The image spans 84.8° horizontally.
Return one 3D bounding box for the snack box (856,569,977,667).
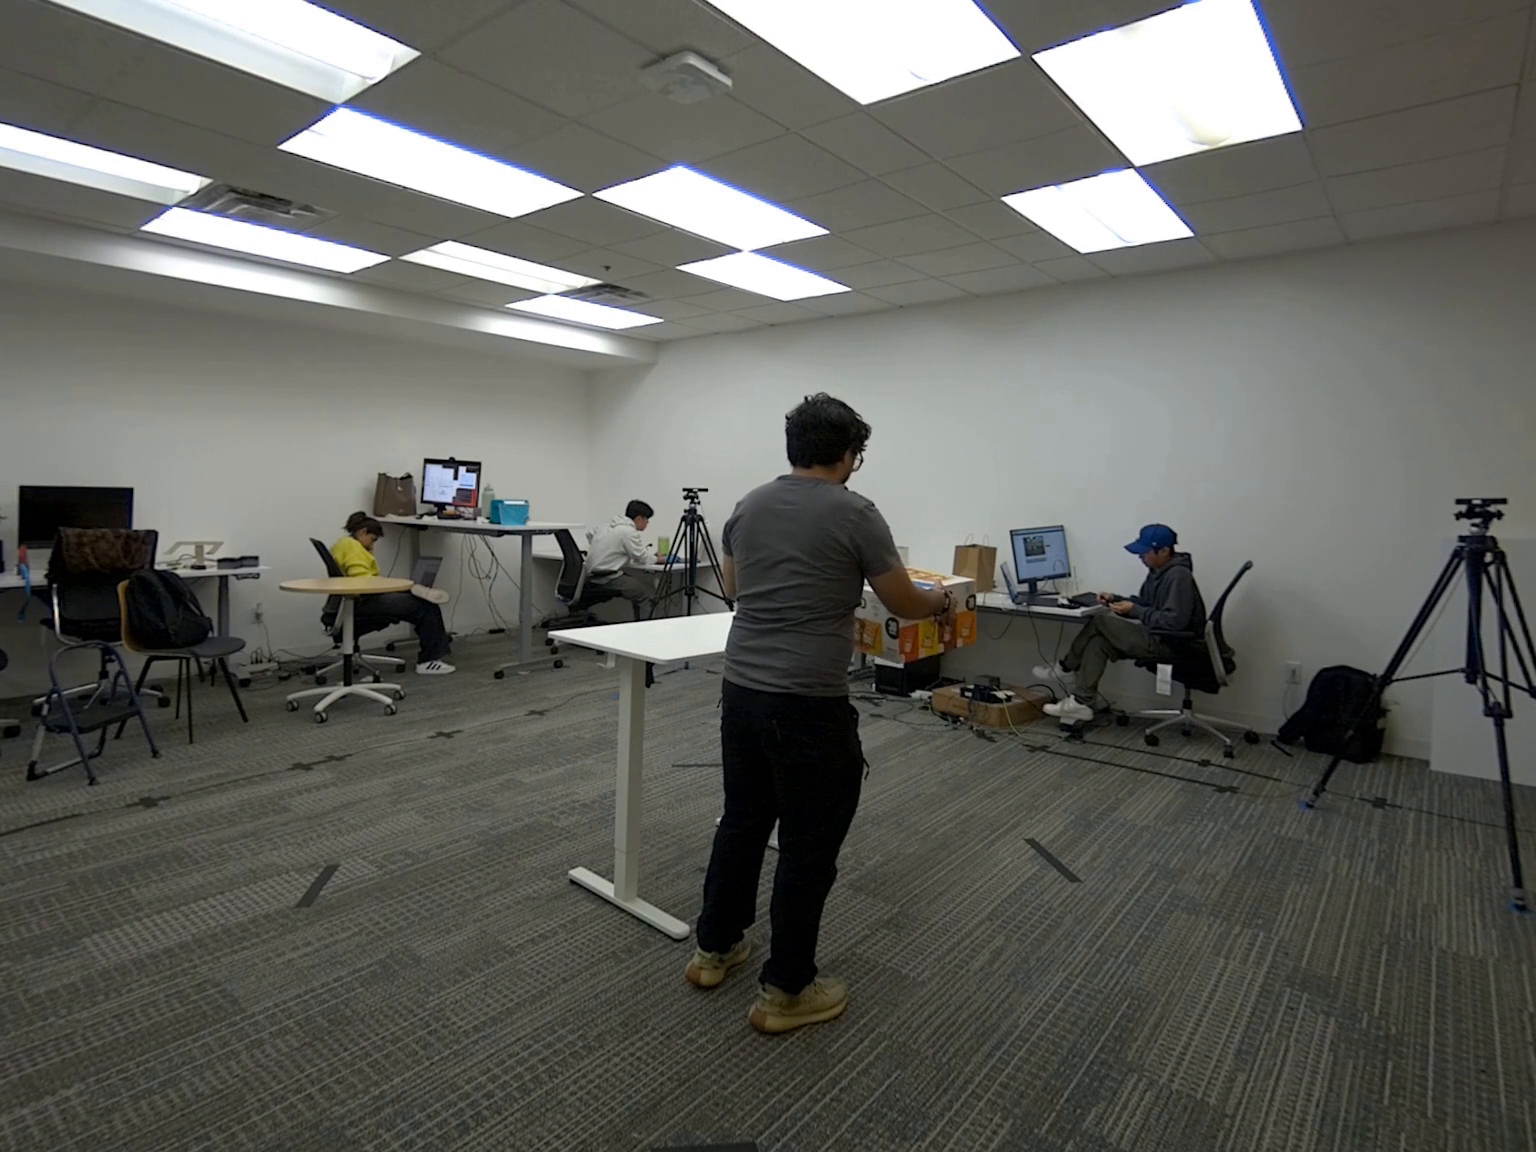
[{"bbox_3d":[0.374,0.104,2.699,0.332,0.204,0.420,-9,13,-35],"label":"snack box"}]
